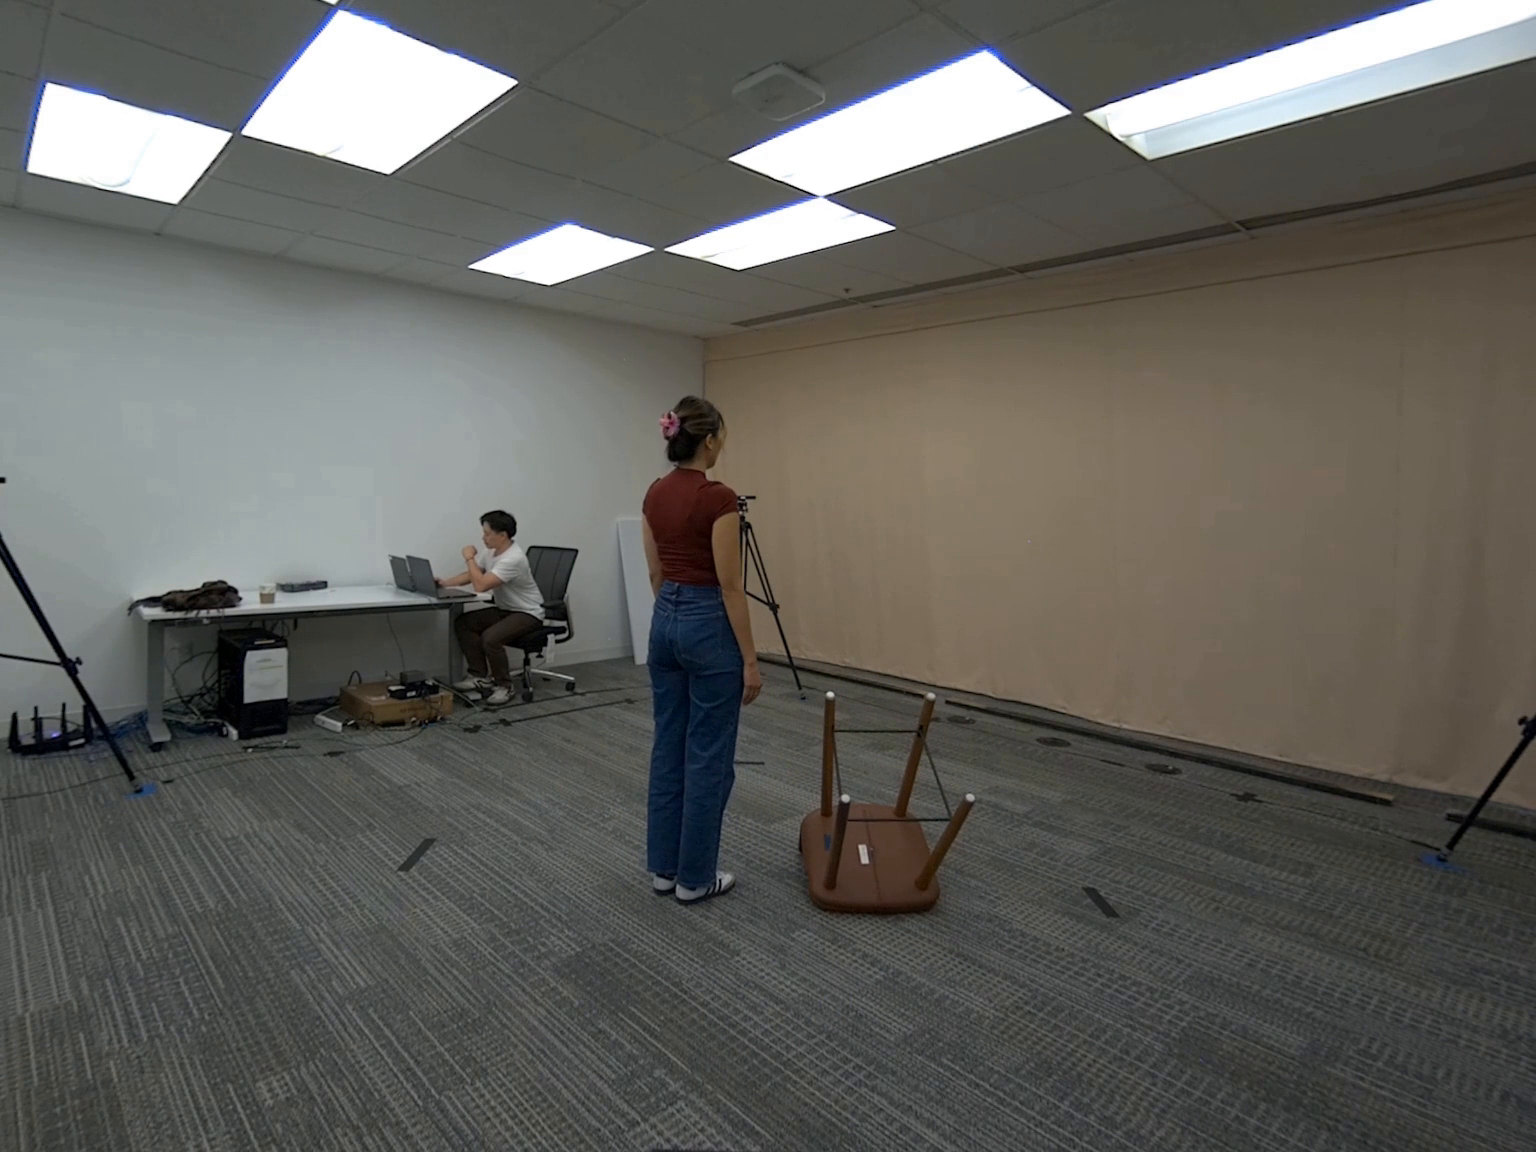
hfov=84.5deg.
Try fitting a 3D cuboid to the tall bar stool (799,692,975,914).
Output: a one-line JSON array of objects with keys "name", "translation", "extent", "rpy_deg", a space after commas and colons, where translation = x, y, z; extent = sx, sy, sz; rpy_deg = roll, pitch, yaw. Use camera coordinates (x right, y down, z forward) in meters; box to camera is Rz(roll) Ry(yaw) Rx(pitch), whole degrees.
[{"name": "tall bar stool", "translation": [0.356, 0.875, 2.927], "extent": [0.454, 0.873, 0.478], "rpy_deg": [2, 38, -6]}]
